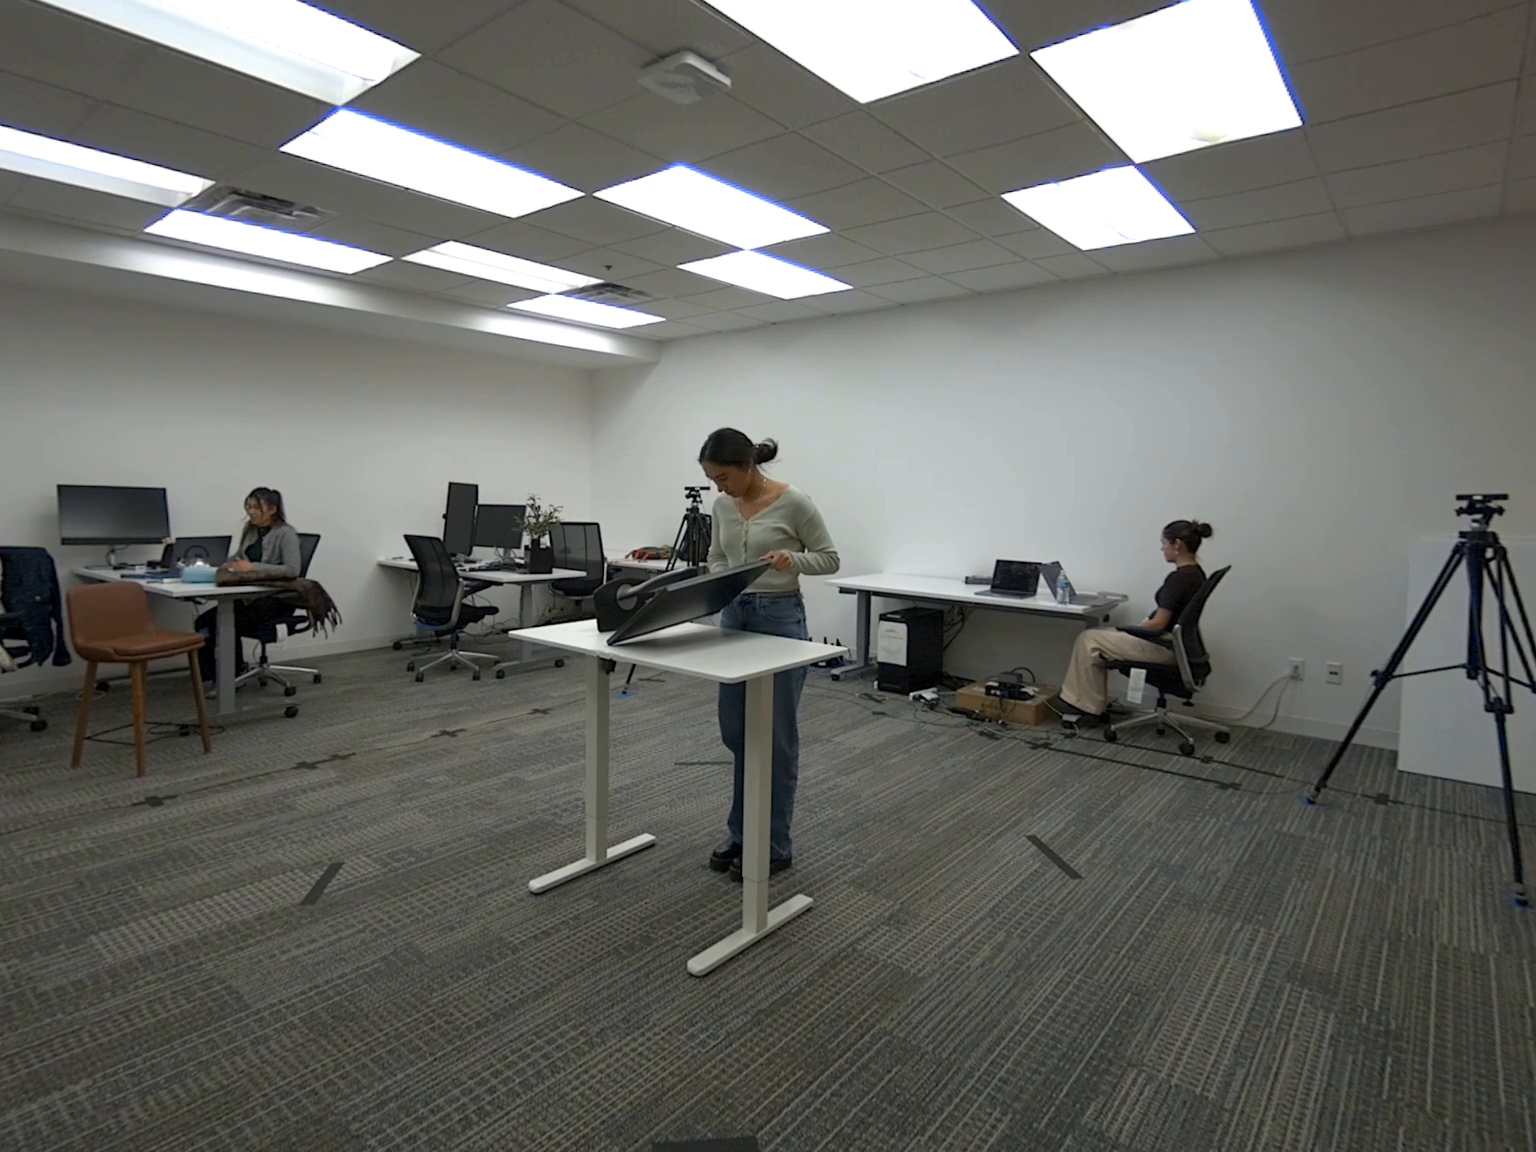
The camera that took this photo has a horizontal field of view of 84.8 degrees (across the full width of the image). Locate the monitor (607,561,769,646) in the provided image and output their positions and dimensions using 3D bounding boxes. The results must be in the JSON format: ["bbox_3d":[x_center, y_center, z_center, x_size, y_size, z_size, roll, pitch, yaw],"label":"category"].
[{"bbox_3d":[-0.357,0.057,2.855,0.535,0.187,0.527,-13,3,40],"label":"monitor"}]
